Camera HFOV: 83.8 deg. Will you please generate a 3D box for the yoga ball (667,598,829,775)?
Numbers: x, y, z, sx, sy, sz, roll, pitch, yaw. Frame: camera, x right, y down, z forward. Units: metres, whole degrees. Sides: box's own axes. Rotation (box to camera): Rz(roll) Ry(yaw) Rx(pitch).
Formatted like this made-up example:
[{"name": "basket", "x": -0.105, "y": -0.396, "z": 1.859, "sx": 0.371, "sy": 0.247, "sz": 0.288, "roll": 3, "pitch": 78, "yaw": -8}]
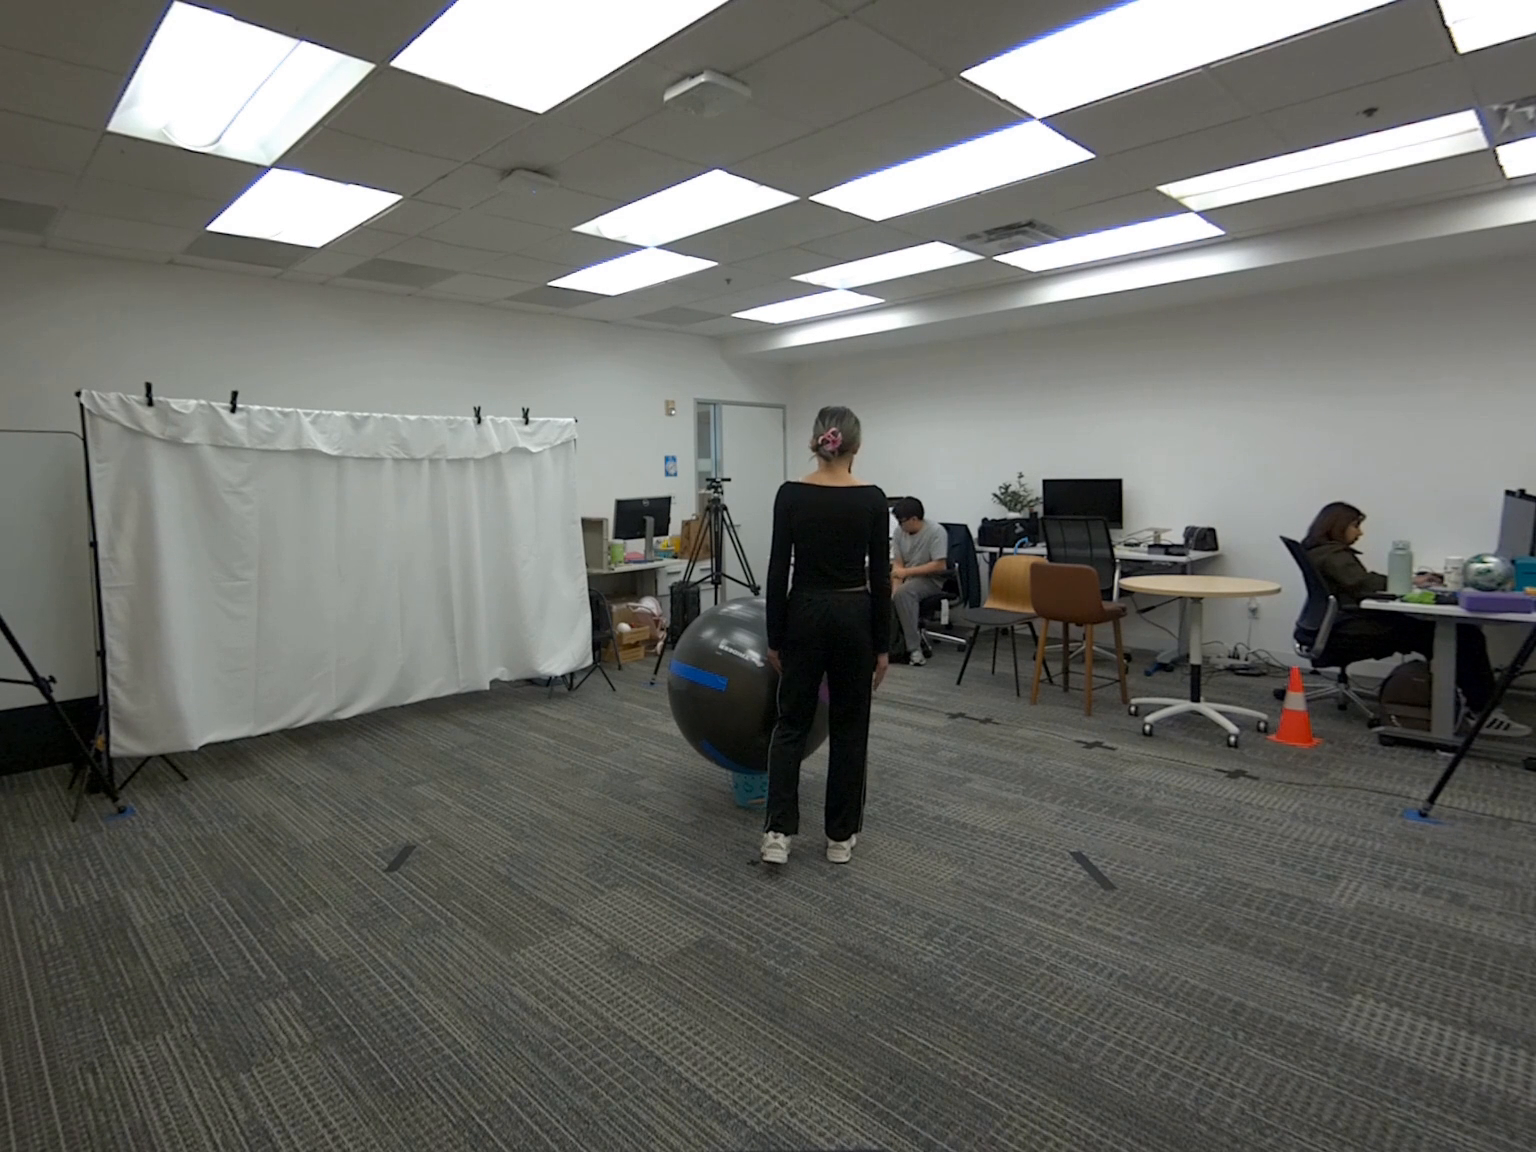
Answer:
[{"name": "yoga ball", "x": -0.061, "y": 0.469, "z": 3.690, "sx": 0.757, "sy": 0.755, "sz": 0.762, "roll": -1, "pitch": 5, "yaw": -2}]
